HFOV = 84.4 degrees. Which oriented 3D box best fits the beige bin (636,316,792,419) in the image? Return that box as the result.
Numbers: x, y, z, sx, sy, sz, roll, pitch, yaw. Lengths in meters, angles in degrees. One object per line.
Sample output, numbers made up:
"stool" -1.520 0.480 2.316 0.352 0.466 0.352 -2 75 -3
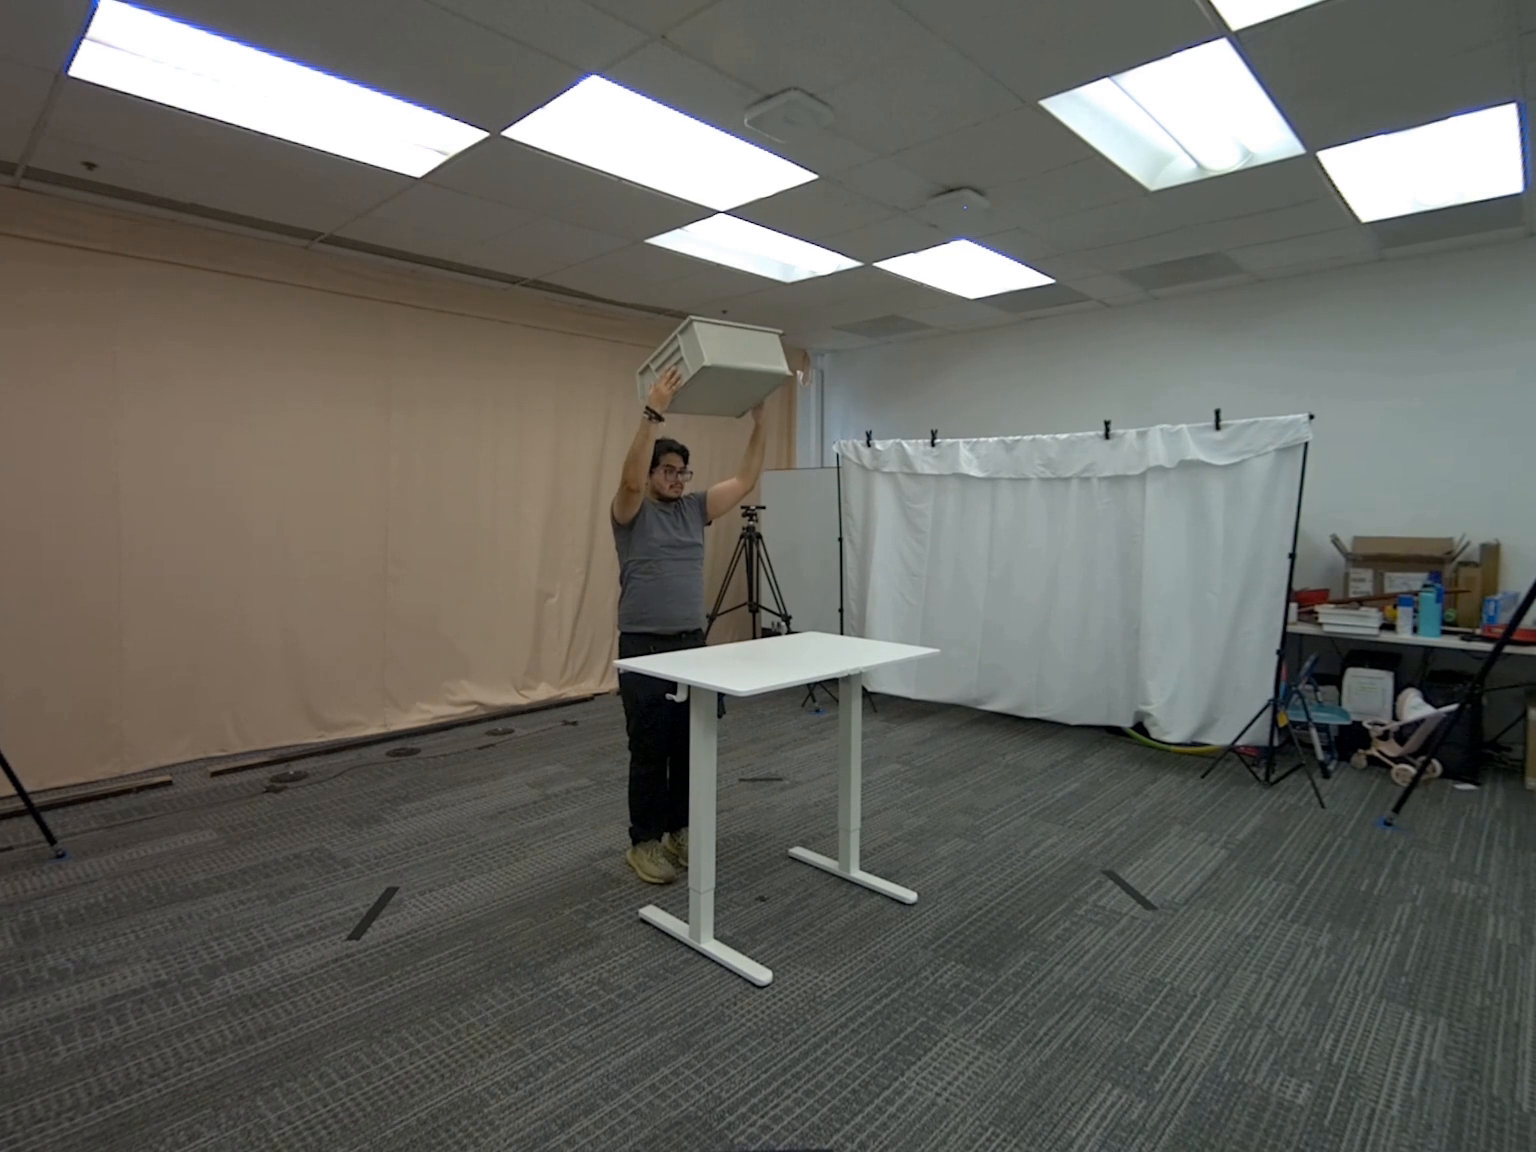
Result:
"beige bin" -0.191 -0.703 2.984 0.409 0.191 0.384 -5 -17 -42
